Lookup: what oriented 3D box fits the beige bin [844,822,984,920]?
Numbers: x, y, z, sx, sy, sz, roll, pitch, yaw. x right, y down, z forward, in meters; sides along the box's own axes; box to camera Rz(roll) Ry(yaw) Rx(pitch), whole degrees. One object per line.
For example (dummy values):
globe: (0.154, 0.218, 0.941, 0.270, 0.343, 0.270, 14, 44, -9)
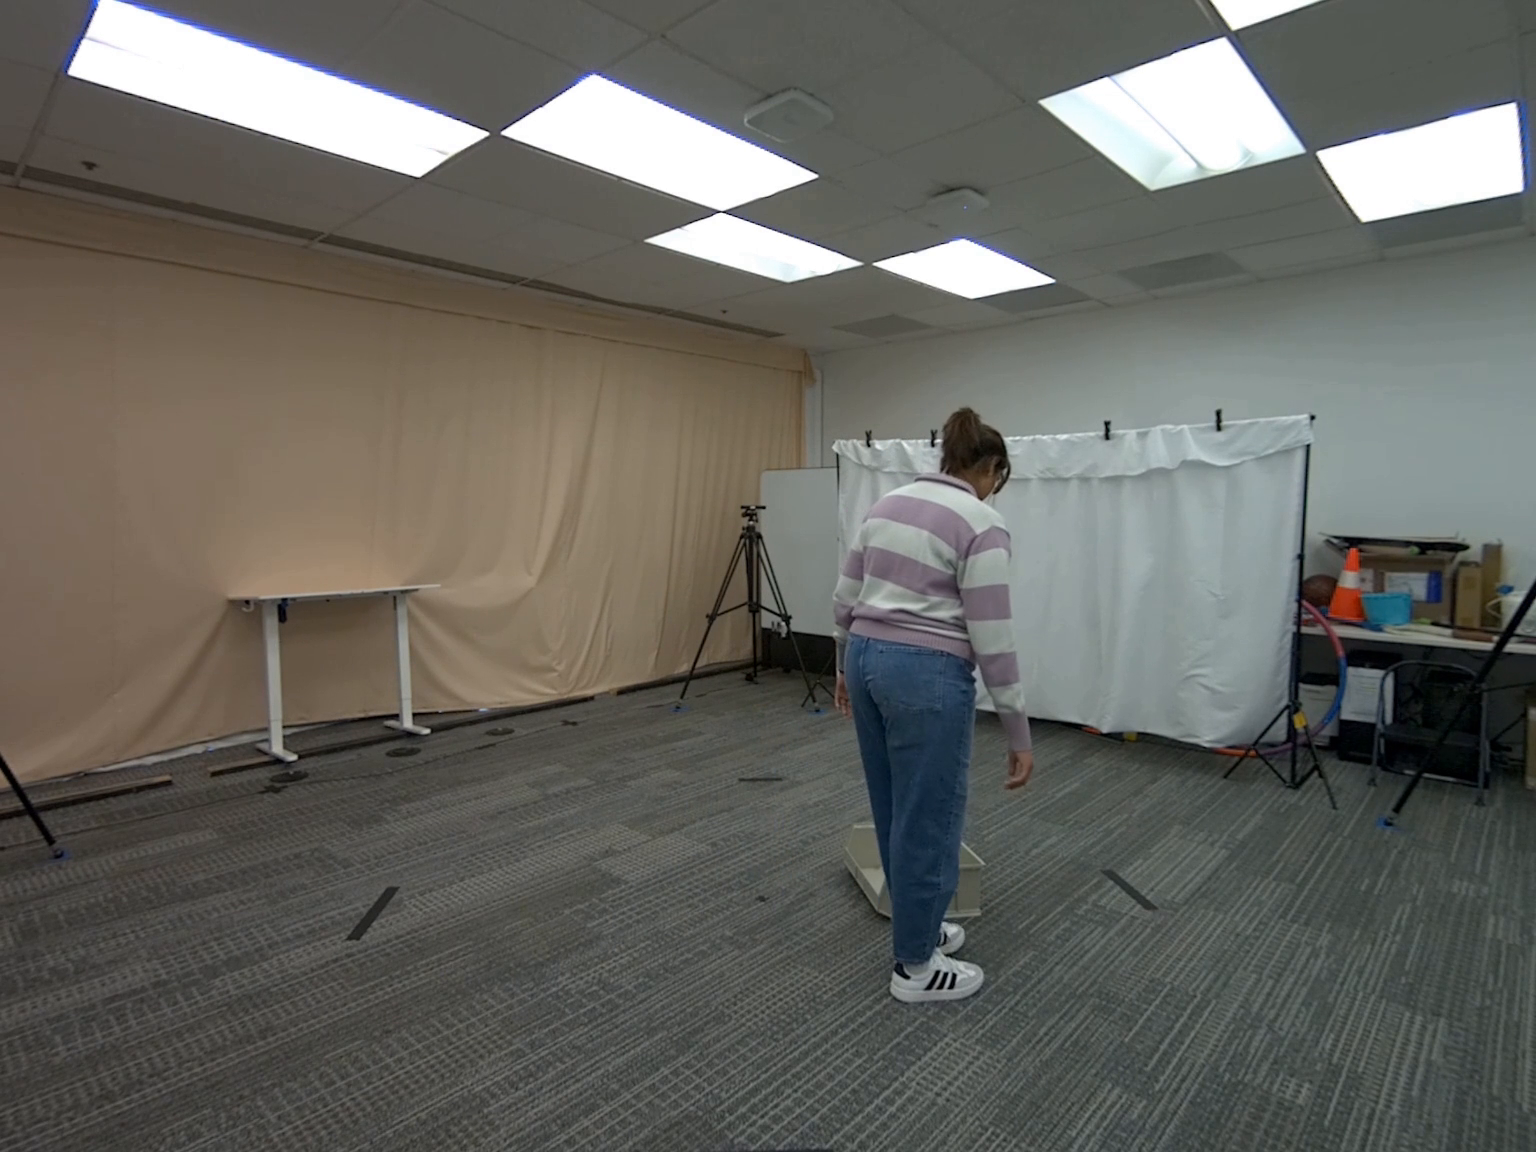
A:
beige bin: (0.517, 1.052, 3.025, 0.374, 0.188, 0.427, -1, 4, -10)
